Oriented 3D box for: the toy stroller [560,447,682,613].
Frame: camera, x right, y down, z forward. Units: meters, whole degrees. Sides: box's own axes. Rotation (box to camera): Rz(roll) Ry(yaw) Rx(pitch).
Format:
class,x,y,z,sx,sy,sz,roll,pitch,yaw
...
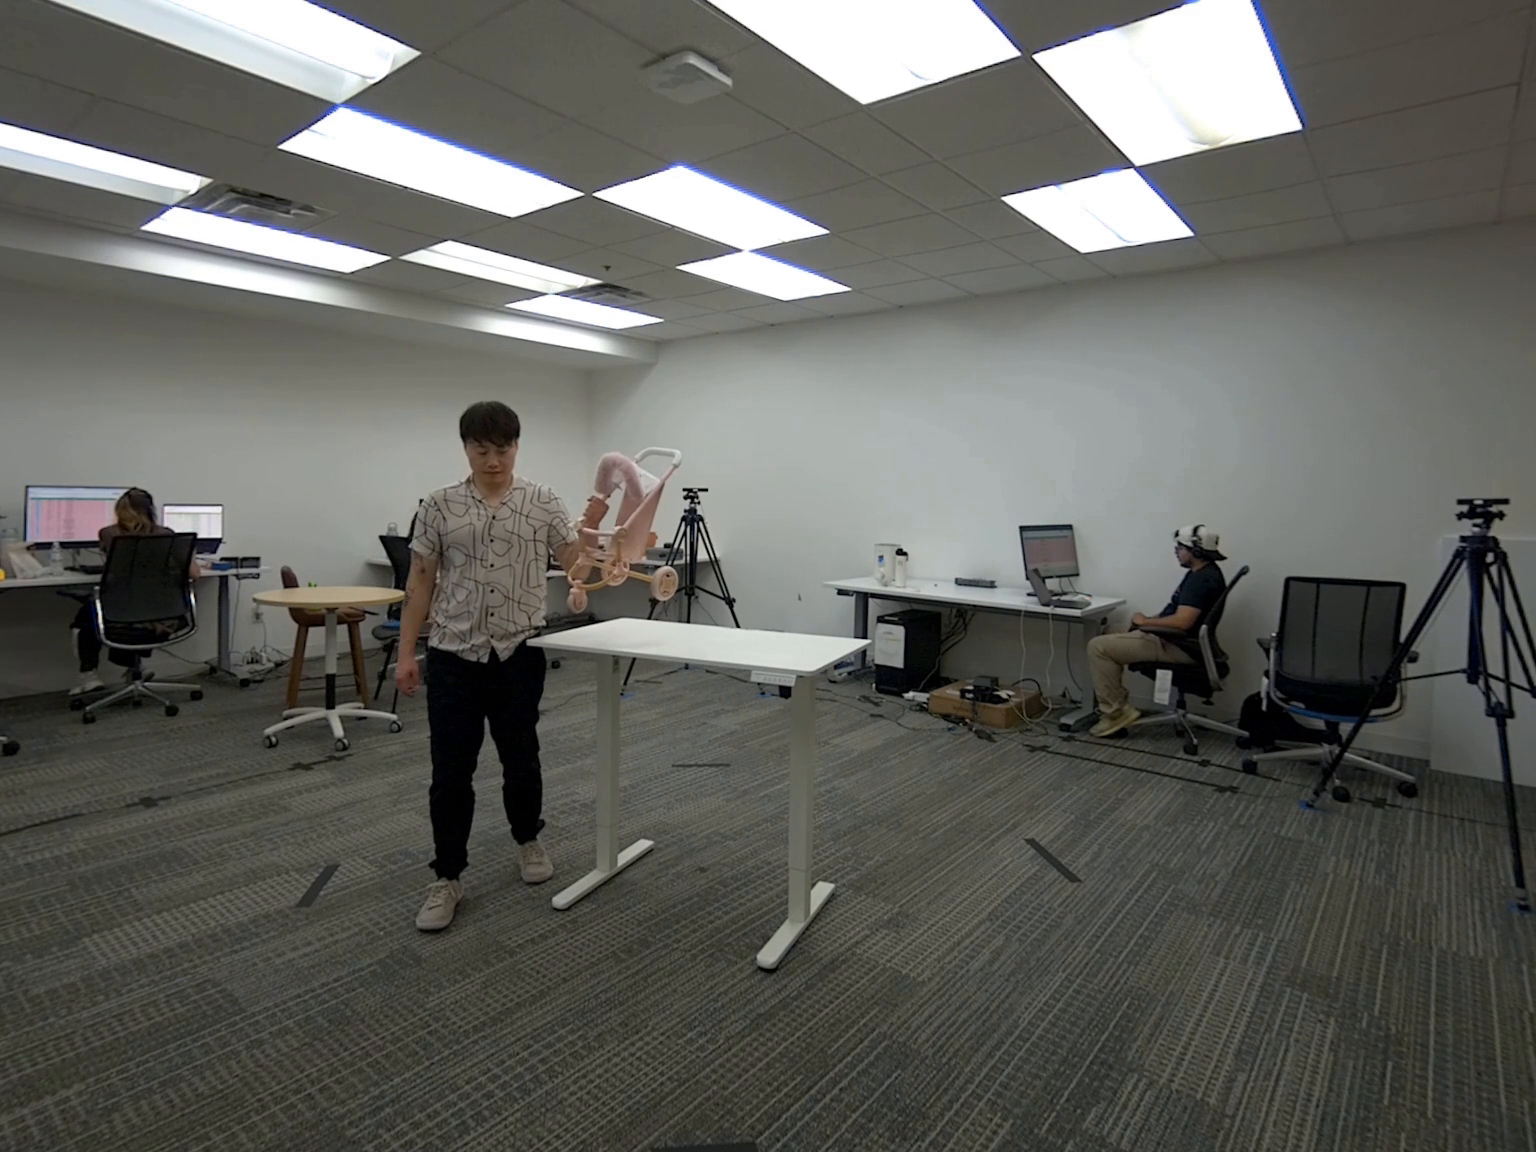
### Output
class,x,y,z,sx,sy,sz,roll,pitch,yaw
toy stroller,-0.489,-0.152,2.697,0.330,0.532,0.292,2,9,-44
